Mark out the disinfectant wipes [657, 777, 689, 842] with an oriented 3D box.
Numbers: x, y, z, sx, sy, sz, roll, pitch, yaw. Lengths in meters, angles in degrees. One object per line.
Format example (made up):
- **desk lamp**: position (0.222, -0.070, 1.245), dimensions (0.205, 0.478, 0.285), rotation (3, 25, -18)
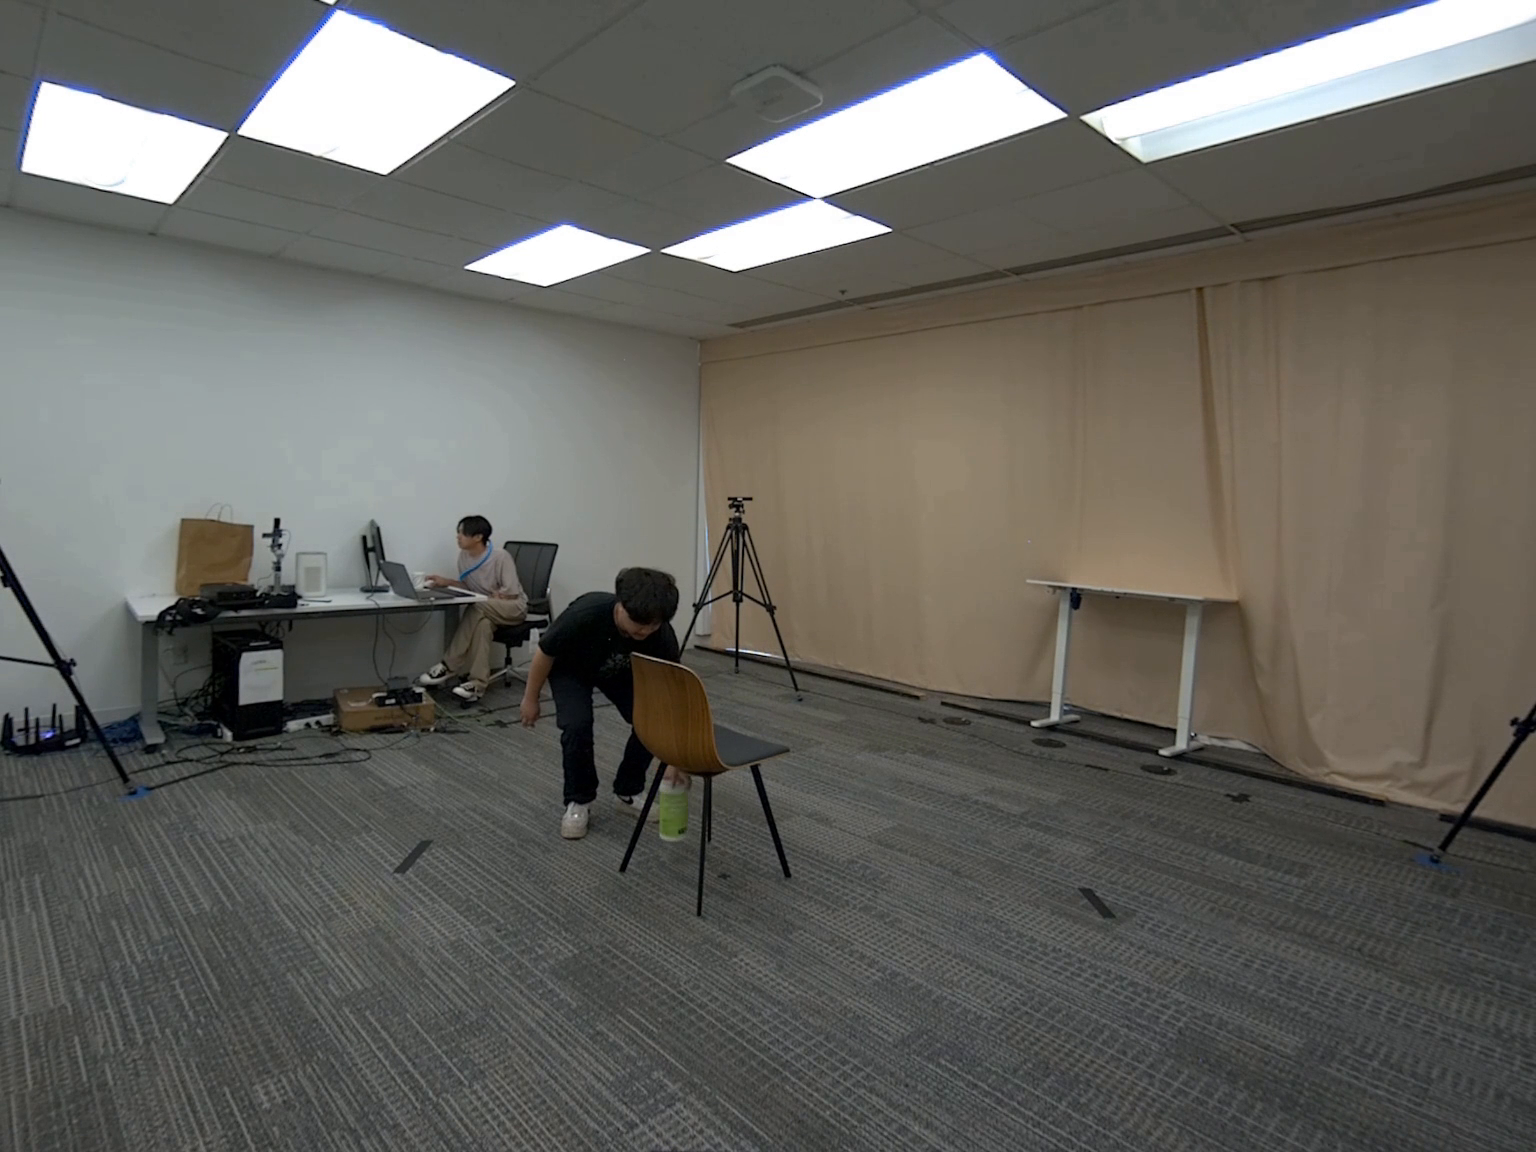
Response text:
- **disinfectant wipes**: position (-0.373, 0.894, 3.227), dimensions (0.118, 0.217, 0.118), rotation (3, 4, -2)
